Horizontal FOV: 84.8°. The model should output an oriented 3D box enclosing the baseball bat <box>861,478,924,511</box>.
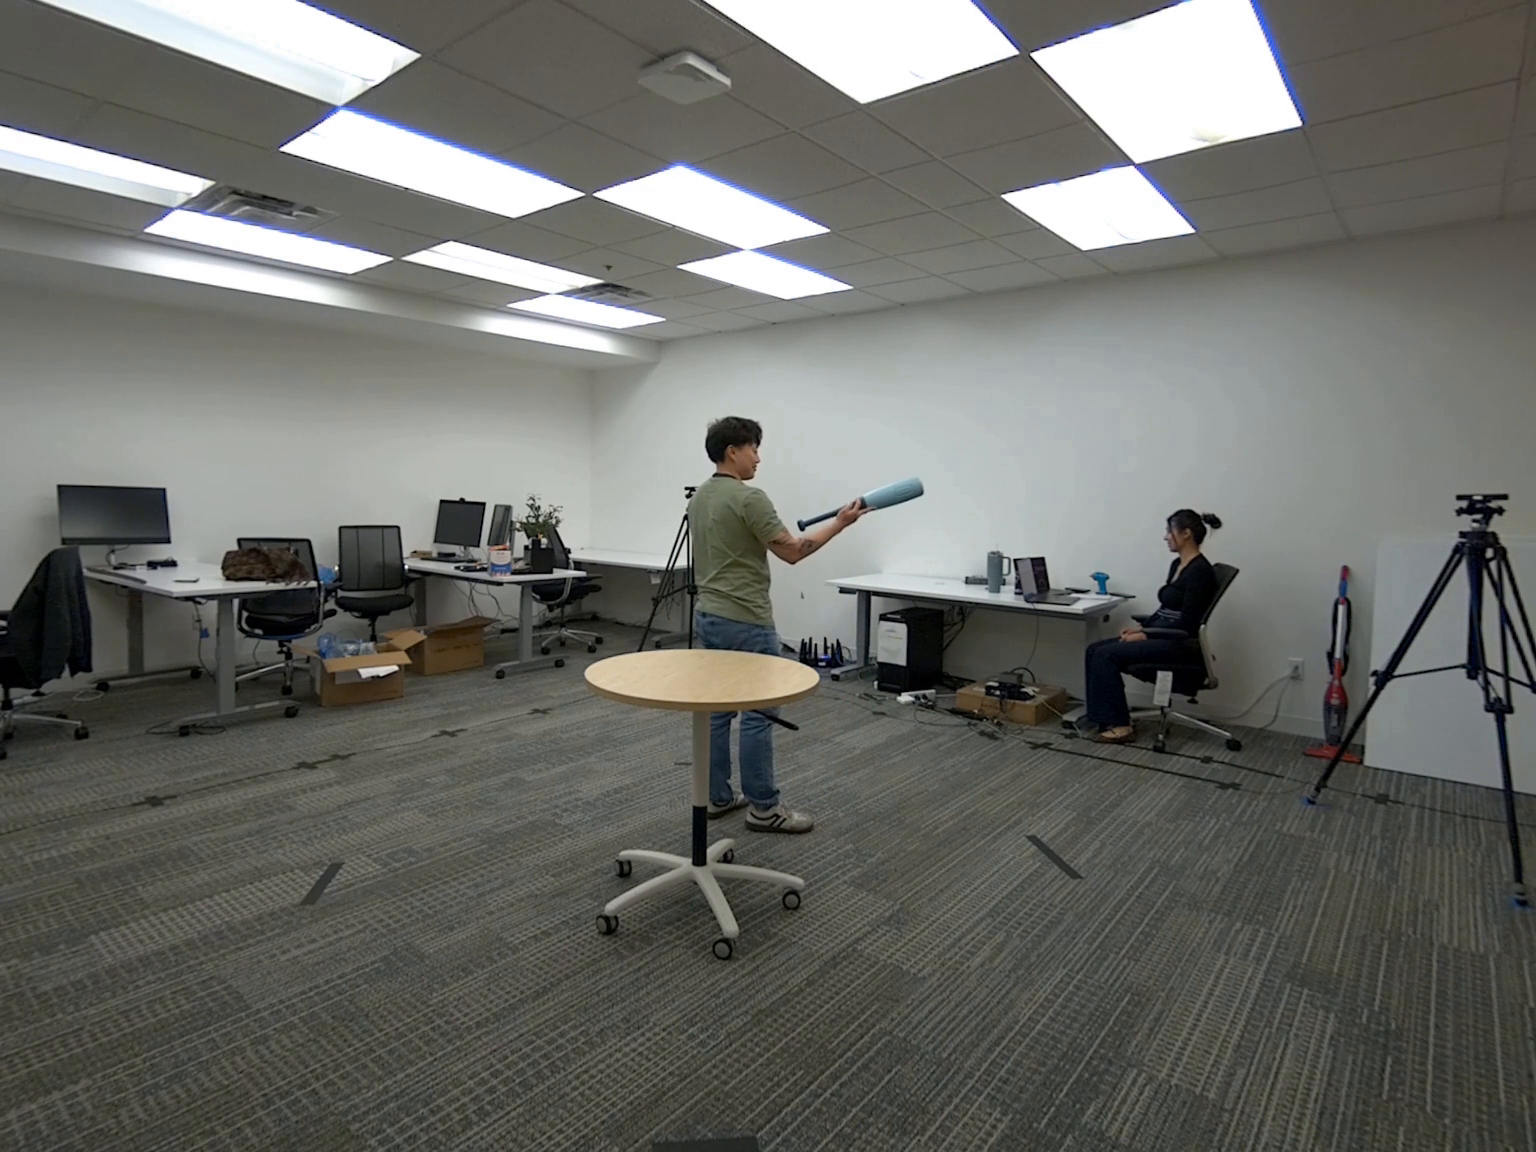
[{"bbox_3d":[0.370,-0.294,3.534,0.543,0.088,0.089,-20,5,0],"label":"baseball bat"}]
